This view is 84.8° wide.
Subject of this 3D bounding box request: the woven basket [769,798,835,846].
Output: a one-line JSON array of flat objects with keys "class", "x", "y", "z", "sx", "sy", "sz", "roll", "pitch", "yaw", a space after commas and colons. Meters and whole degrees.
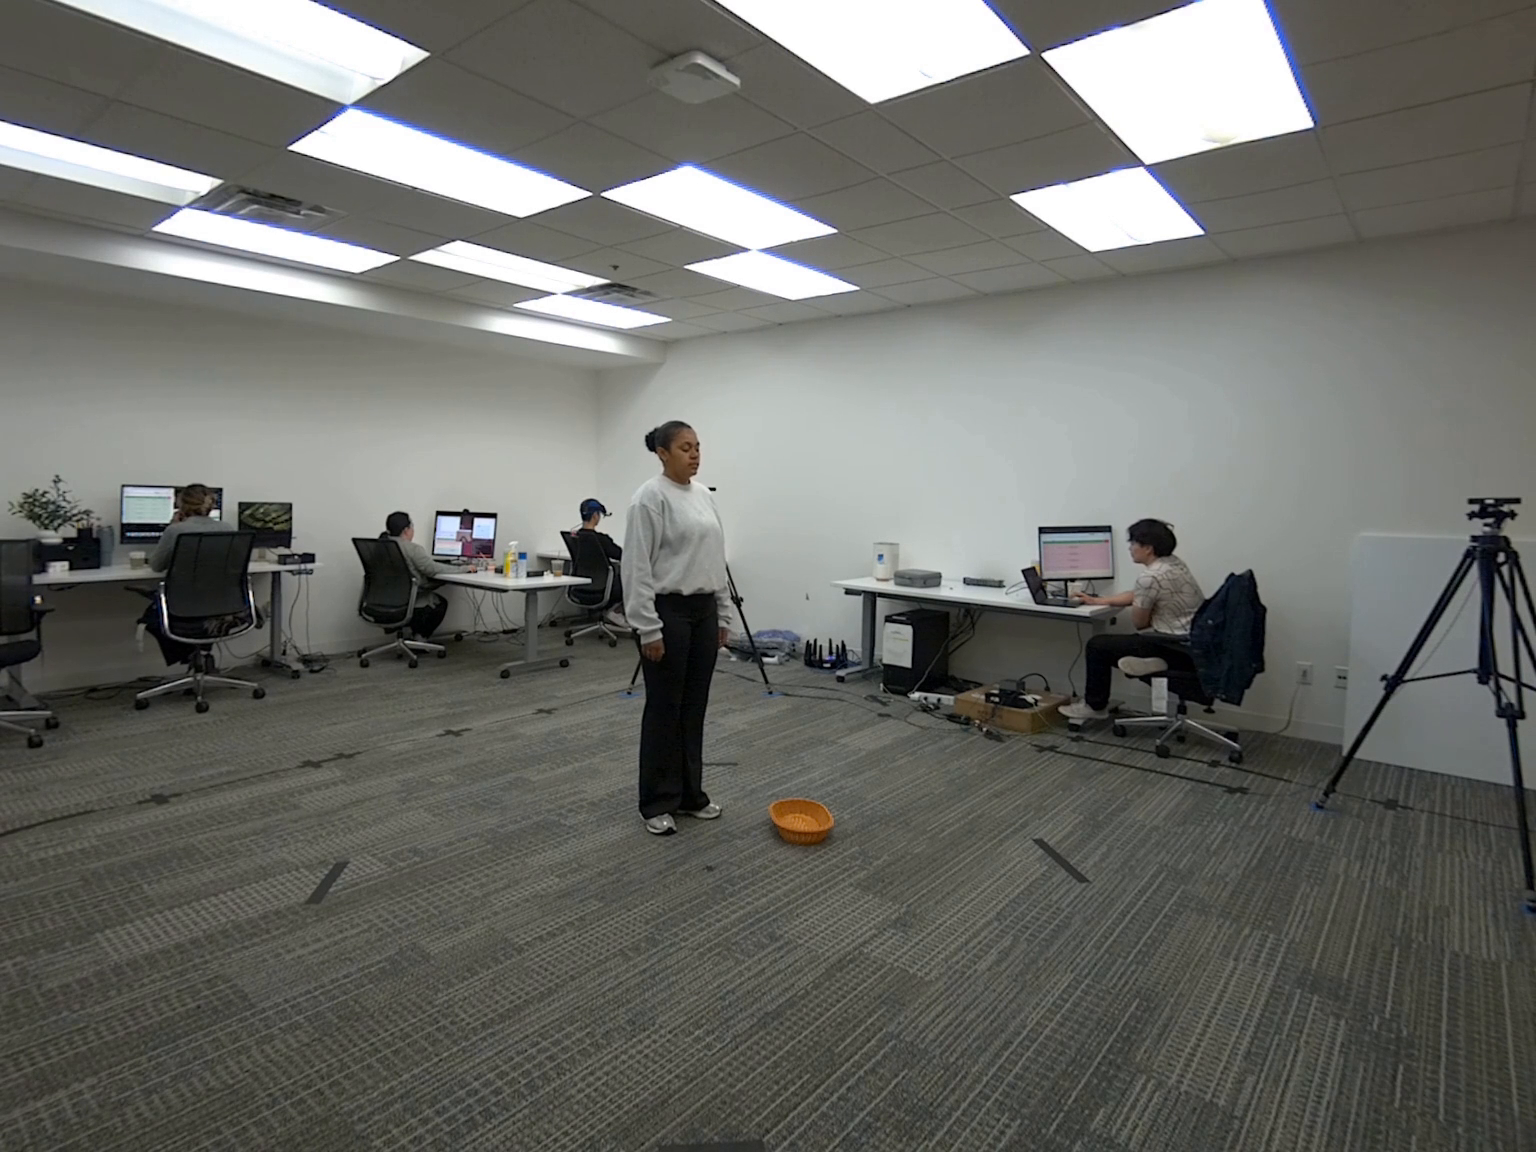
[{"class": "woven basket", "x": 0.123, "y": 0.999, "z": 3.468, "sx": 0.252, "sy": 0.073, "sz": 0.353, "roll": 2, "pitch": 5, "yaw": -4}]
